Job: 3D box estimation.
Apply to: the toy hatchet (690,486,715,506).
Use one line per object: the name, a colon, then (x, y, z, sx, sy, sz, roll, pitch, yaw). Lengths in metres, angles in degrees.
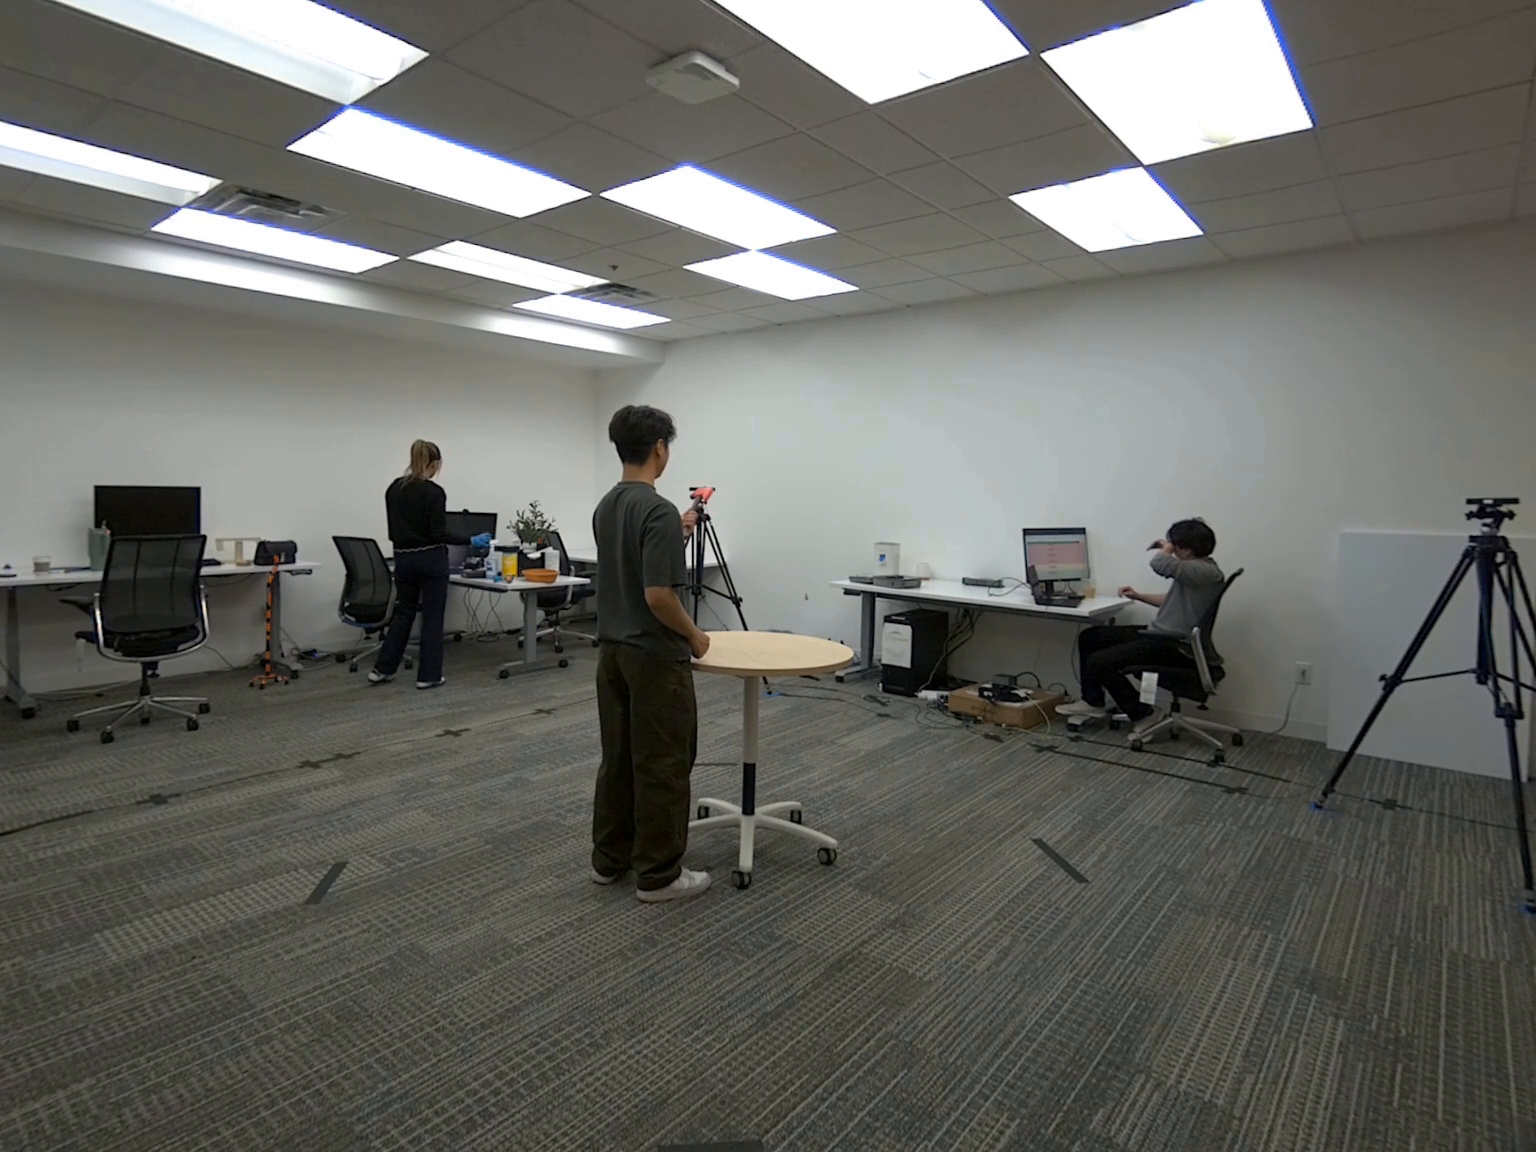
toy hatchet: (-0.287, -0.261, 3.314, 0.133, 0.276, 0.028, -21, -52, 27)
